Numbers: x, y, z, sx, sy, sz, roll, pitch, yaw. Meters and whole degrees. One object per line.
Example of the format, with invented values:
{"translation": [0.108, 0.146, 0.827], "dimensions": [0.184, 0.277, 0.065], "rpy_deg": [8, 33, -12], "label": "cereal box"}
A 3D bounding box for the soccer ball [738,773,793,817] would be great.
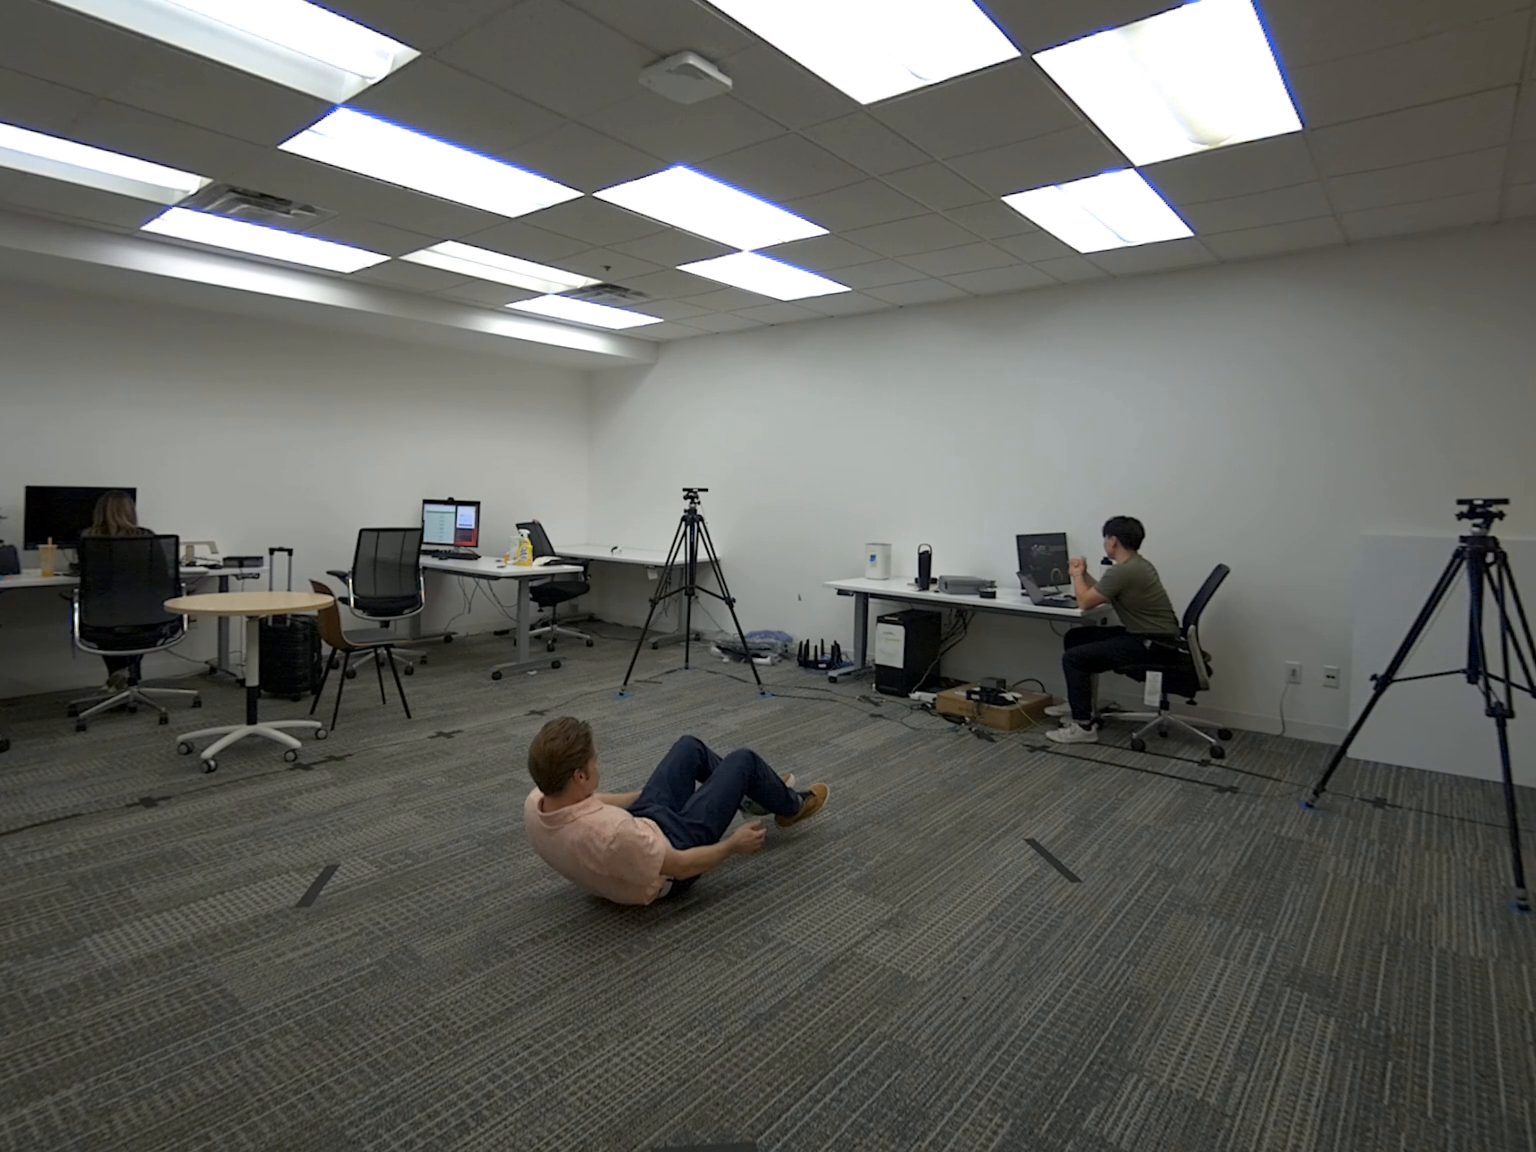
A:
{"translation": [-0.037, 0.855, 3.376], "dimensions": [0.187, 0.187, 0.188], "rpy_deg": [1, 4, -2], "label": "soccer ball"}
